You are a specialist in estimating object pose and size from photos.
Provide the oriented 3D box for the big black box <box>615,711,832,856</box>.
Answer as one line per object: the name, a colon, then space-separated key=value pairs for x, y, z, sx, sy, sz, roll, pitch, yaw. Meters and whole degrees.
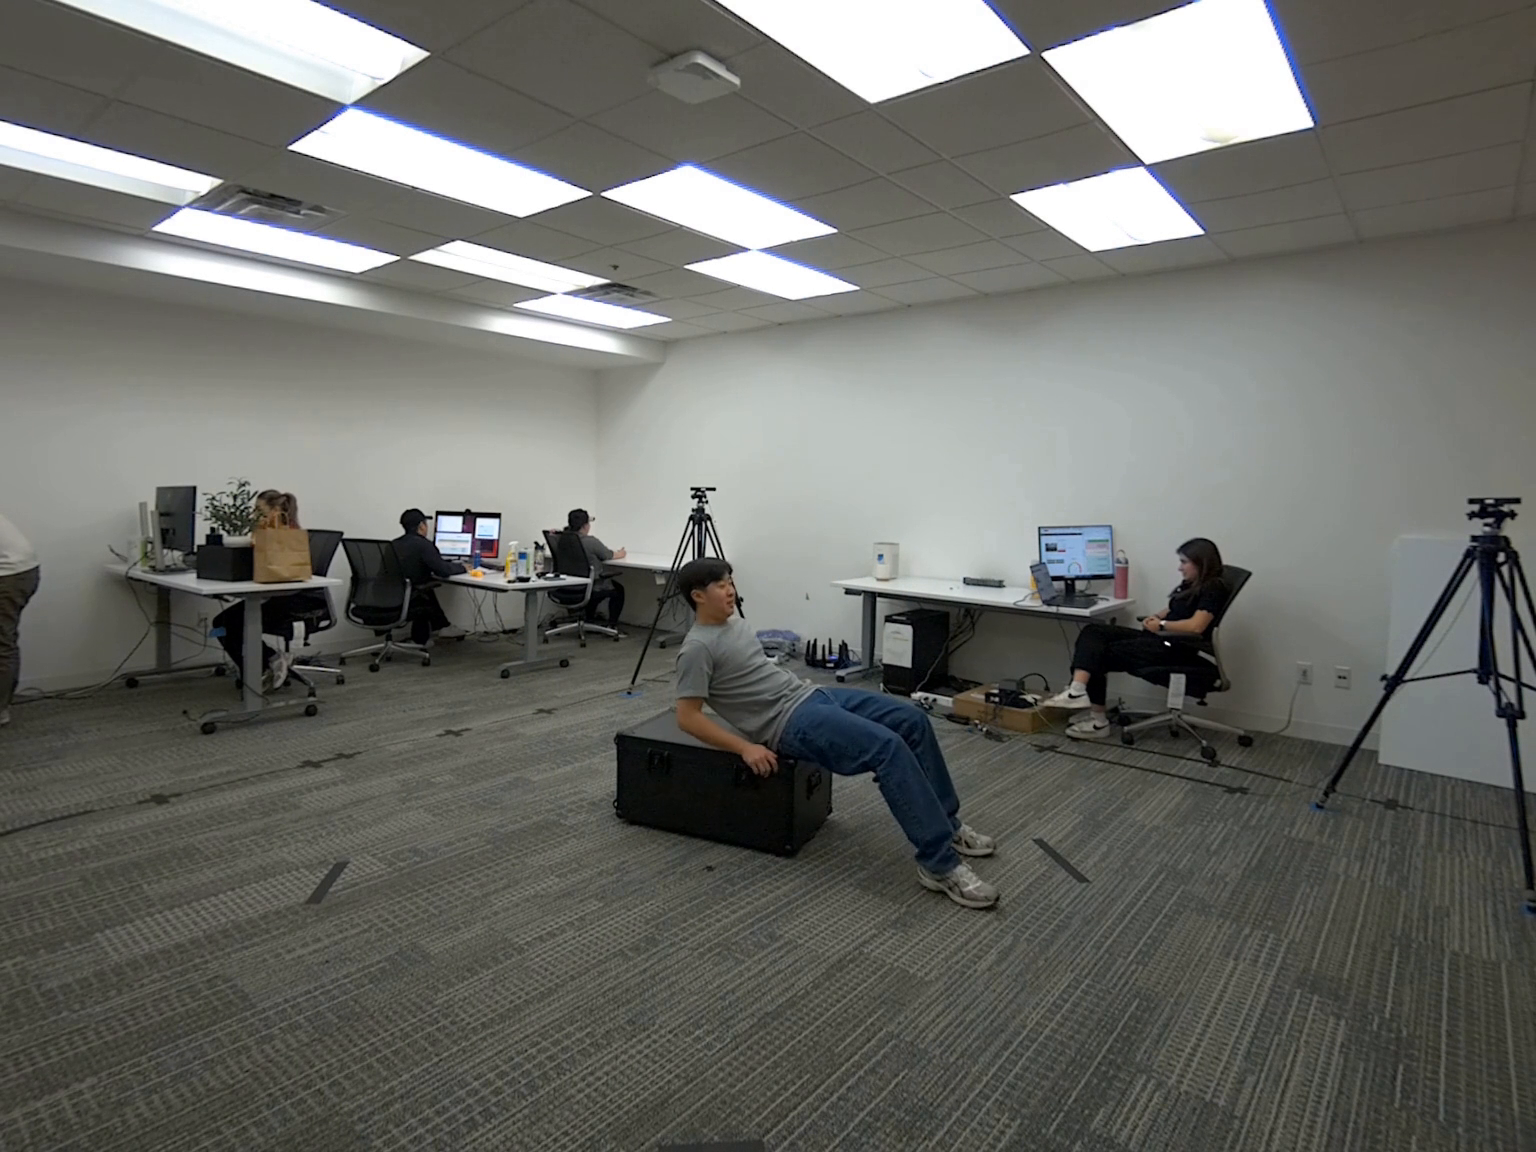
big black box: x=-0.216 y=0.835 z=3.575 sx=0.883 sy=0.394 sz=0.510 roll=4 pitch=6 yaw=24
